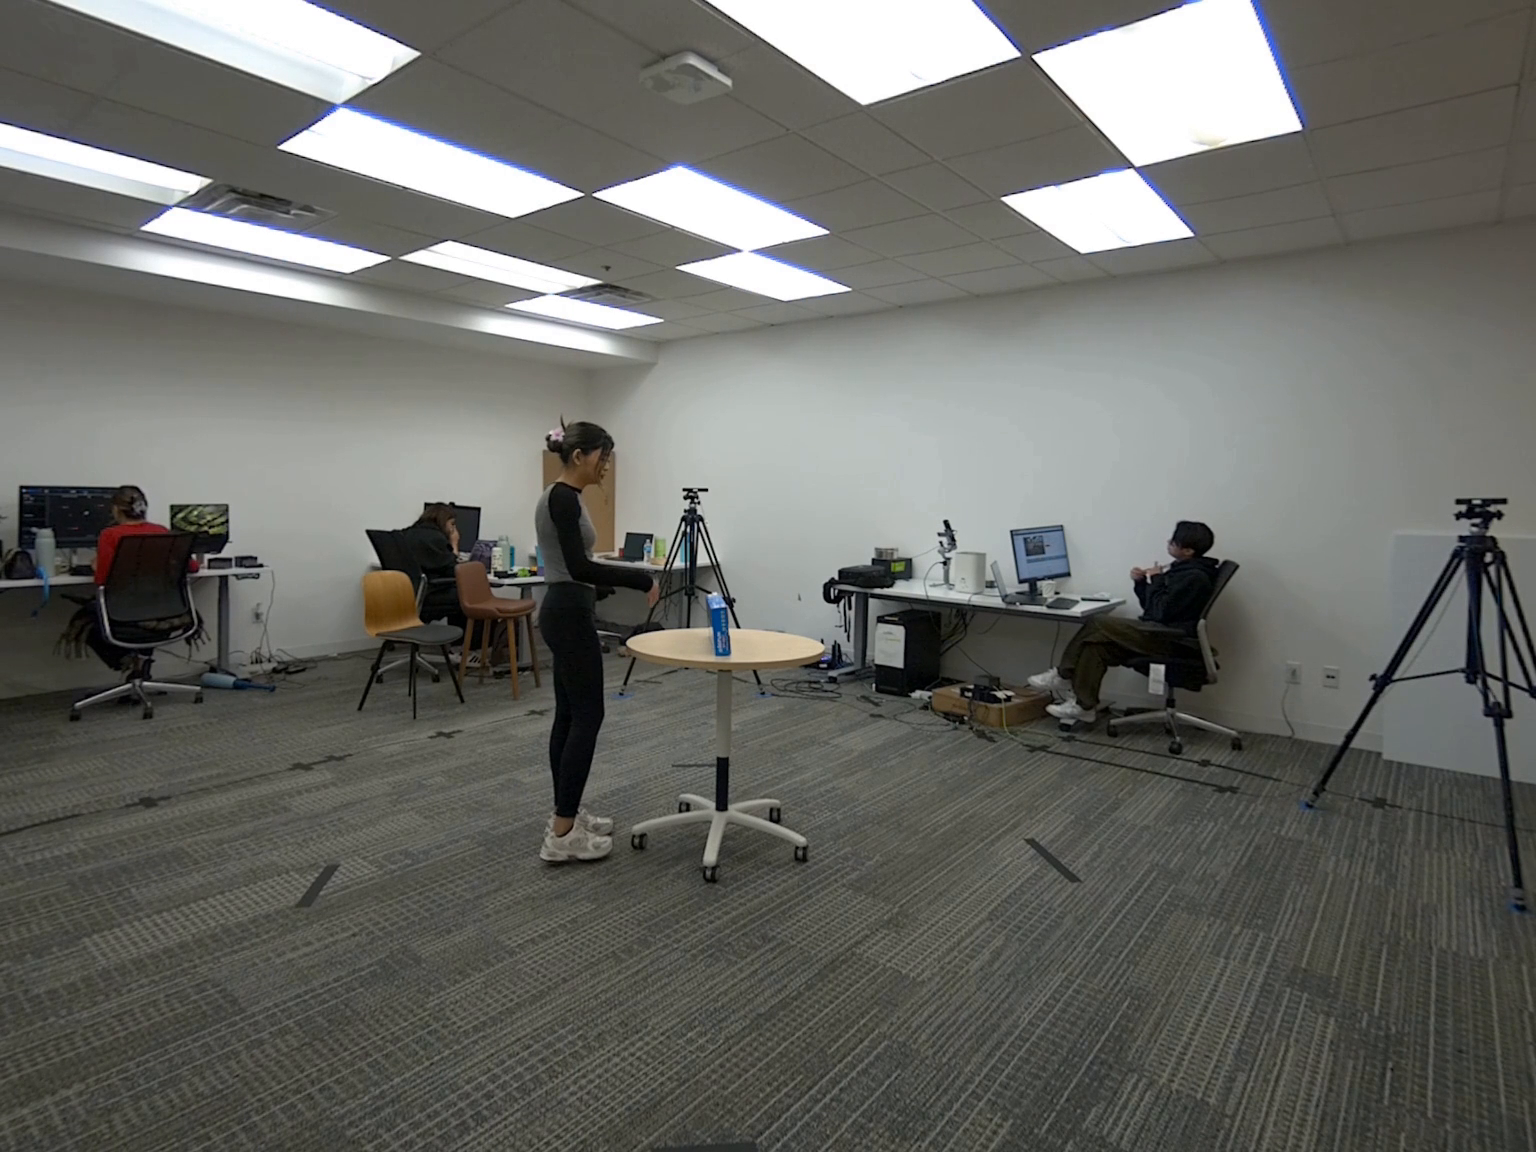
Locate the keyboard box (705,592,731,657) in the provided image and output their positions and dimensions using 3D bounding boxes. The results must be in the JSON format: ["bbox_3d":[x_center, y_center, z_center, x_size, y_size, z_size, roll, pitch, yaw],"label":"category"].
[{"bbox_3d":[-0.208,0.170,3.238,0.058,0.175,0.442,-3,6,-9],"label":"keyboard box"}]
